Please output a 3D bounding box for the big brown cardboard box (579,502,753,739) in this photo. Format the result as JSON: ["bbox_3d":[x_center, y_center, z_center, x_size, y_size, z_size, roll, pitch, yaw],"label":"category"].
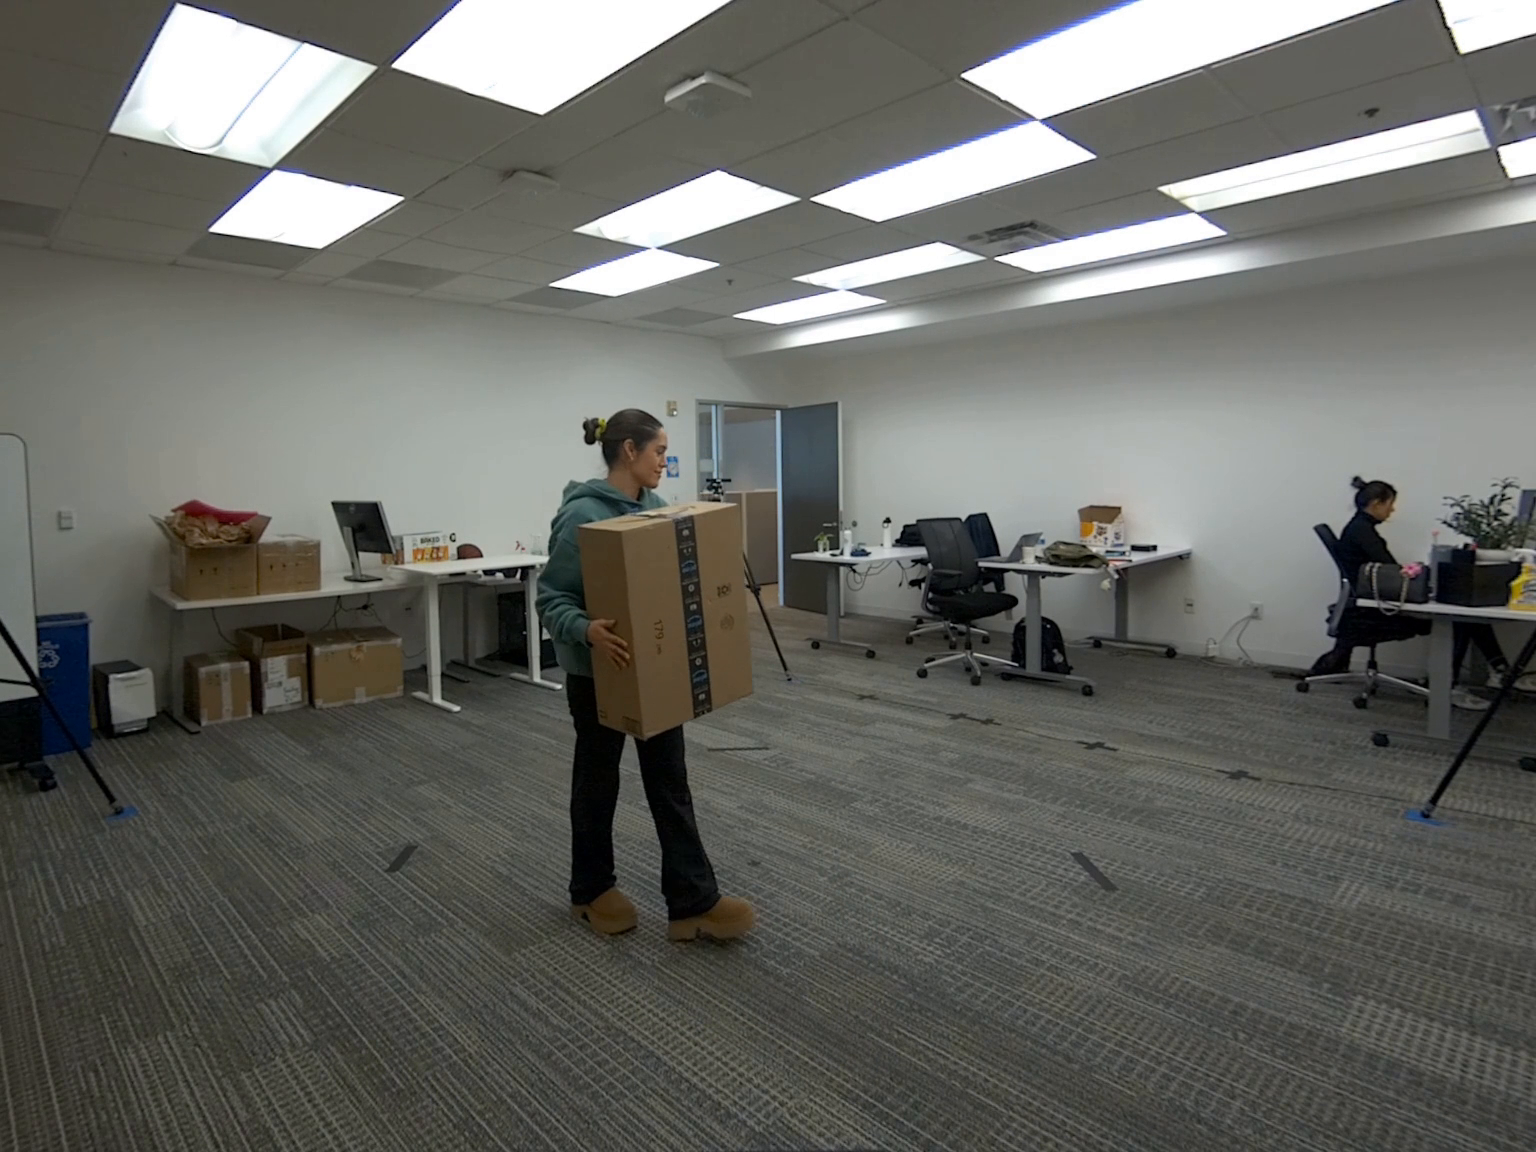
[{"bbox_3d":[-0.272,0.109,2.417,0.408,0.583,0.241,-14,15,-42],"label":"big brown cardboard box"}]
